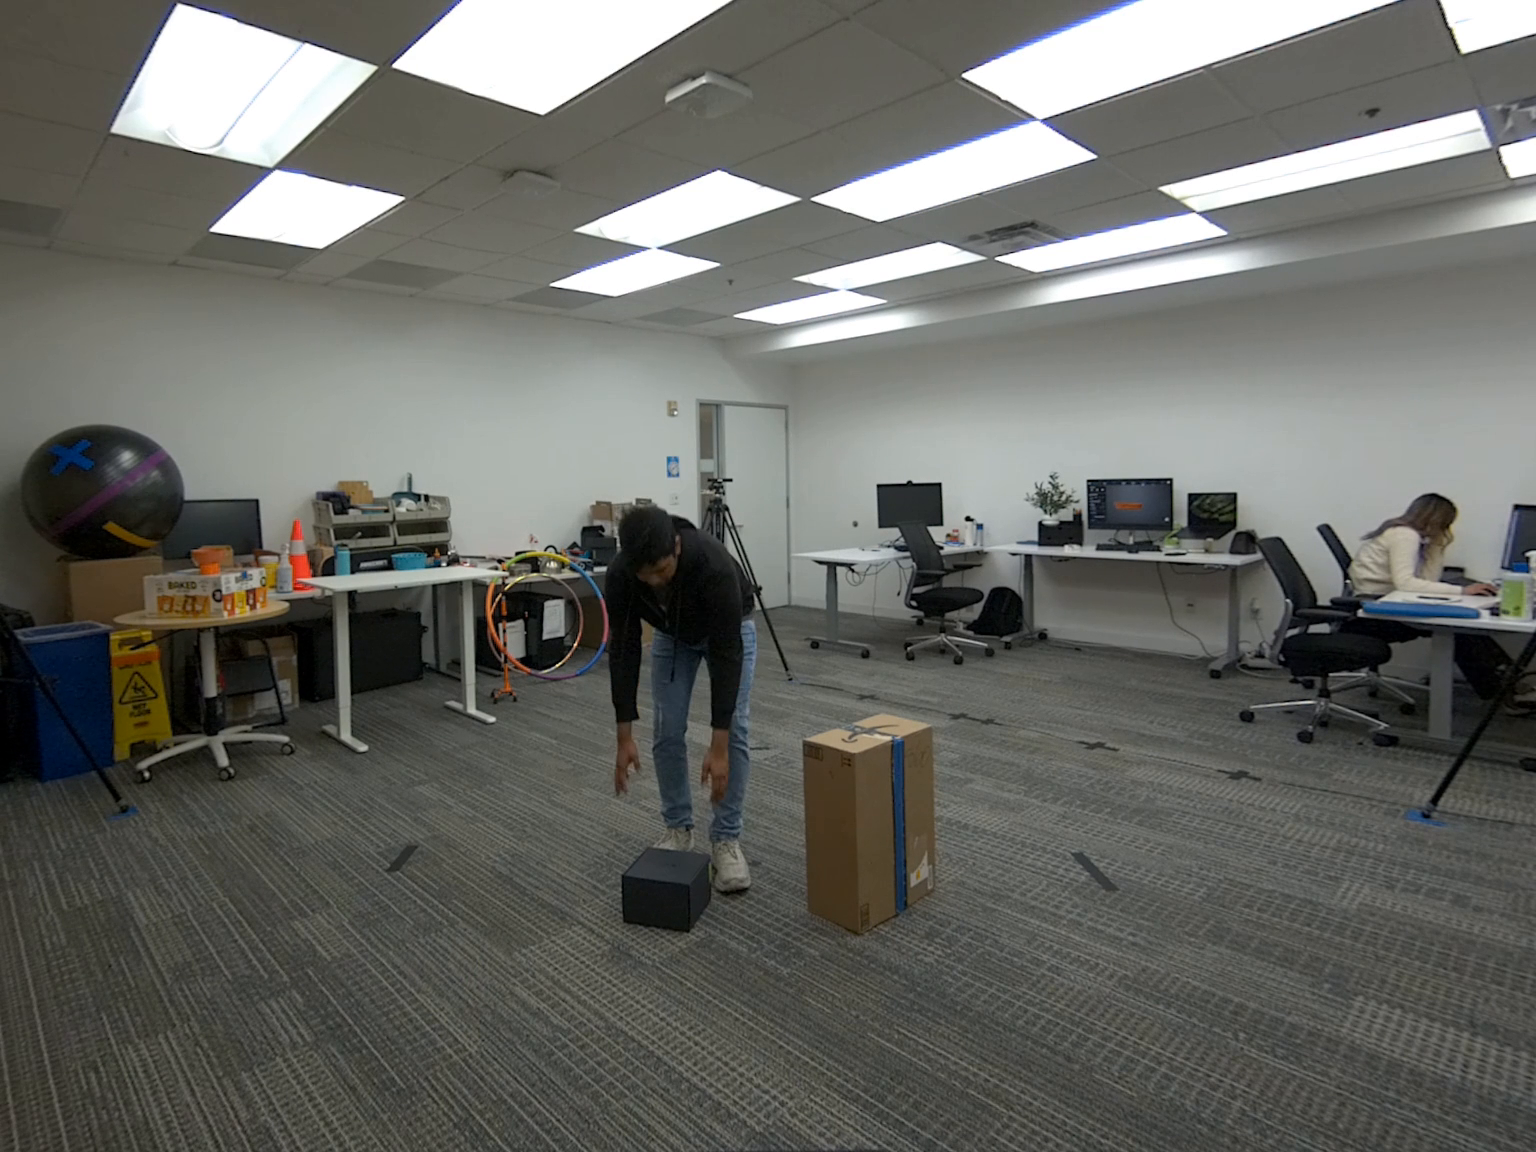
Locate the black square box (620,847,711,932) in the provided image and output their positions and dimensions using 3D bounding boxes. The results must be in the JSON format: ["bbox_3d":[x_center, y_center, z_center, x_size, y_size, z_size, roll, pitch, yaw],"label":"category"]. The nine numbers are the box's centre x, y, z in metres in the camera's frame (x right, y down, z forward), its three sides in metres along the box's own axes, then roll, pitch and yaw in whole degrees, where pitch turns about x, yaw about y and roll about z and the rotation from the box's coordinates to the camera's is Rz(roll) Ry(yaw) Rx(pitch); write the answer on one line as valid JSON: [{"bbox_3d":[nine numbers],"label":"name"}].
[{"bbox_3d":[-0.318,1.006,2.755,0.231,0.155,0.214,-1,5,16],"label":"black square box"}]
